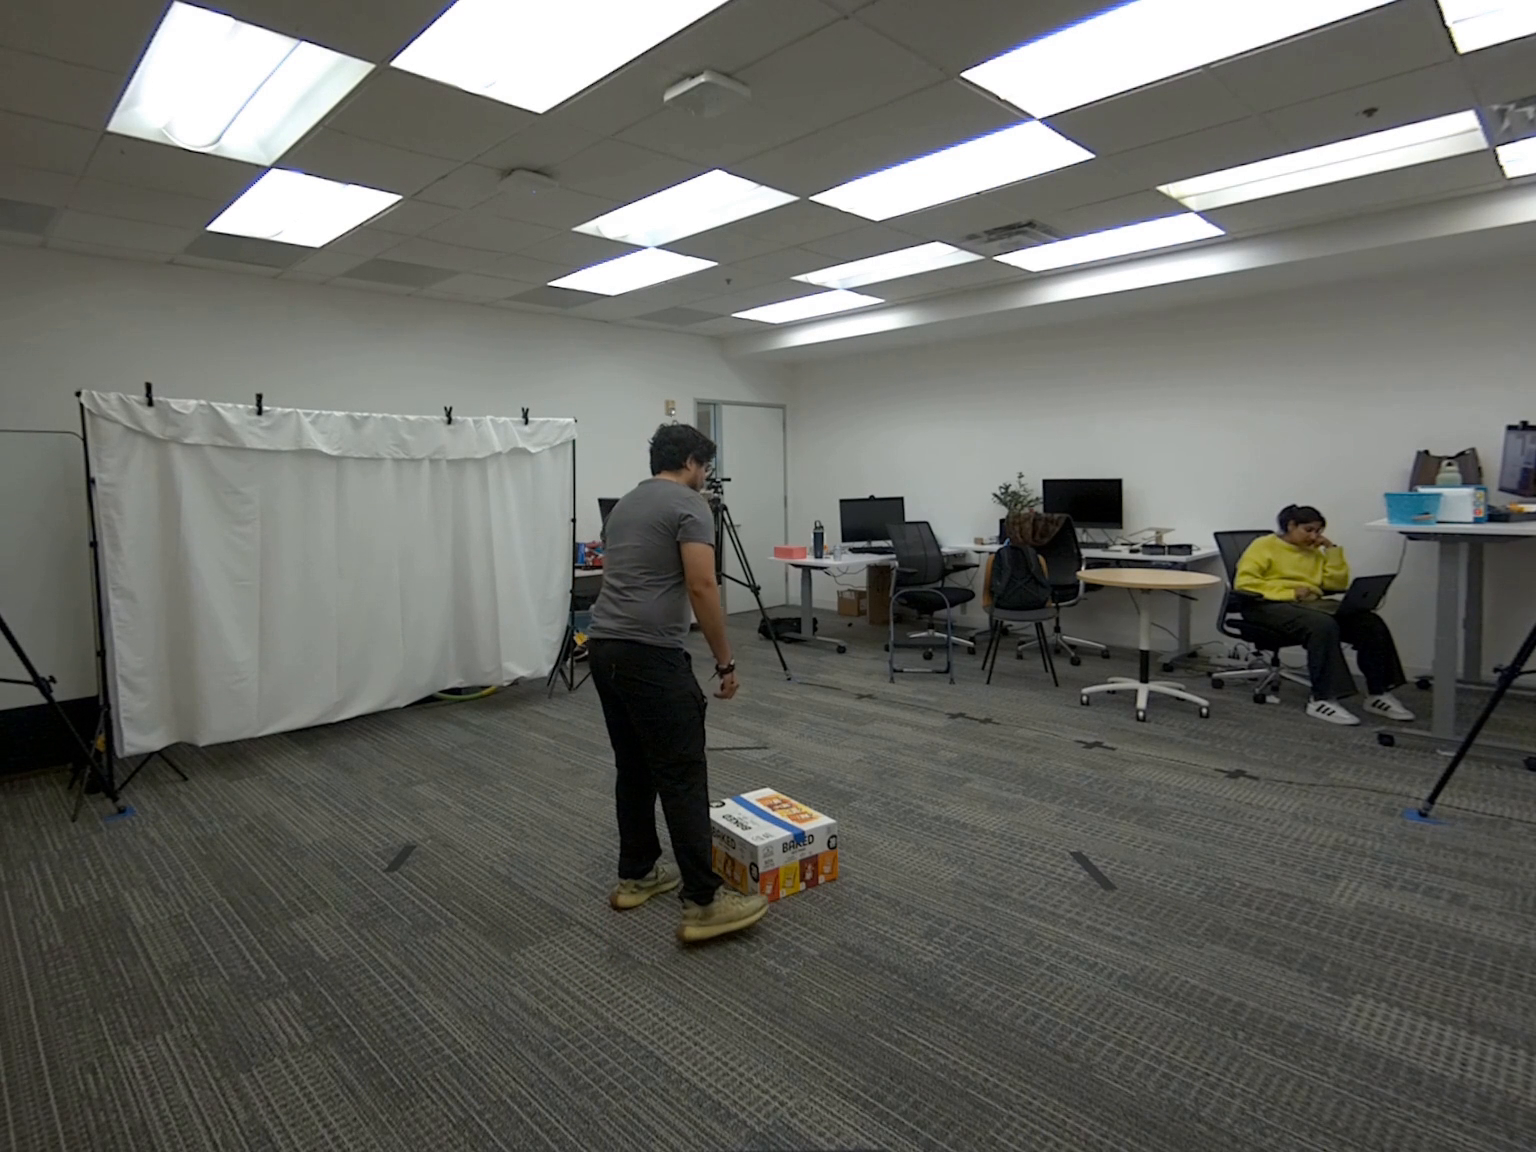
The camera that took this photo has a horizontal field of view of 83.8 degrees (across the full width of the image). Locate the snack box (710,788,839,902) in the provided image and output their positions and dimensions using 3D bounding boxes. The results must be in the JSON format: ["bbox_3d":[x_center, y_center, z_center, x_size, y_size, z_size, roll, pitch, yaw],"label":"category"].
[{"bbox_3d":[-0.012,0.949,3.042,0.332,0.205,0.417,-5,7,-35],"label":"snack box"}]
